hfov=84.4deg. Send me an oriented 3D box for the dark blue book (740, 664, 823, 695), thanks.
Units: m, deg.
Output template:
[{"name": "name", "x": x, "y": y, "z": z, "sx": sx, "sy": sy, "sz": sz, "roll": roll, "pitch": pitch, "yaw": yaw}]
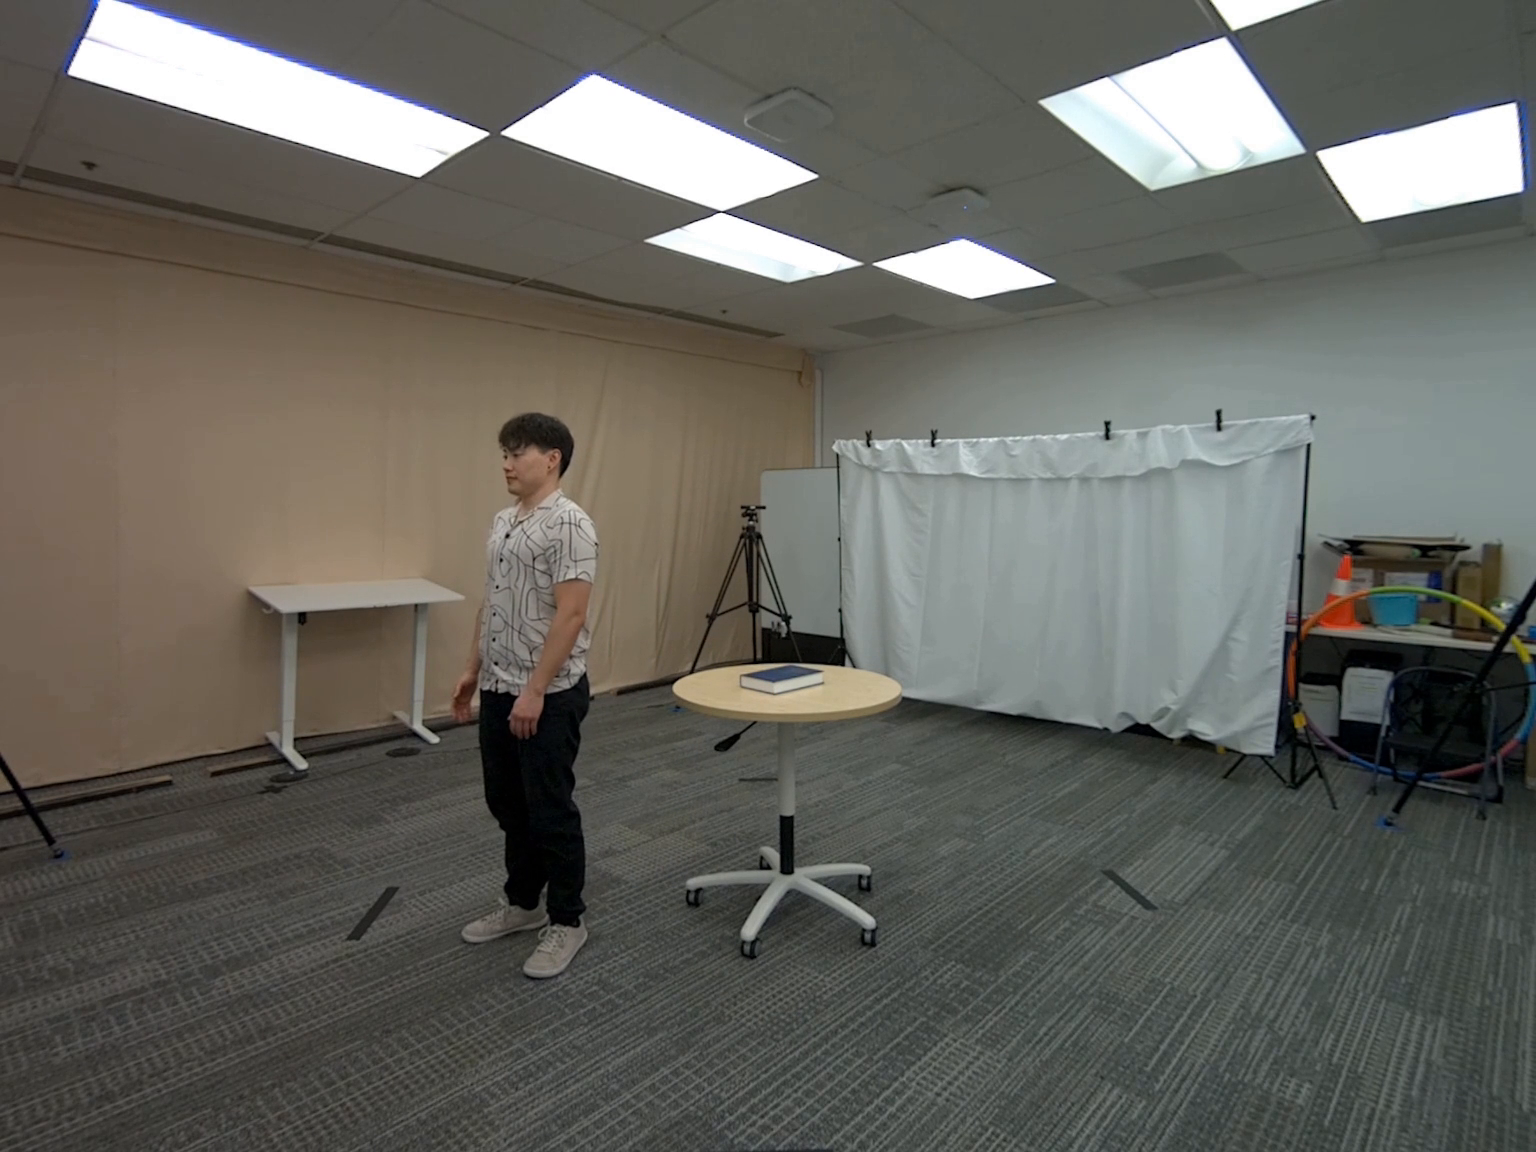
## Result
[{"name": "dark blue book", "x": 0.066, "y": 0.356, "z": 2.838, "sx": 0.238, "sy": 0.045, "sz": 0.169, "roll": -6, "pitch": 7, "yaw": -44}]
